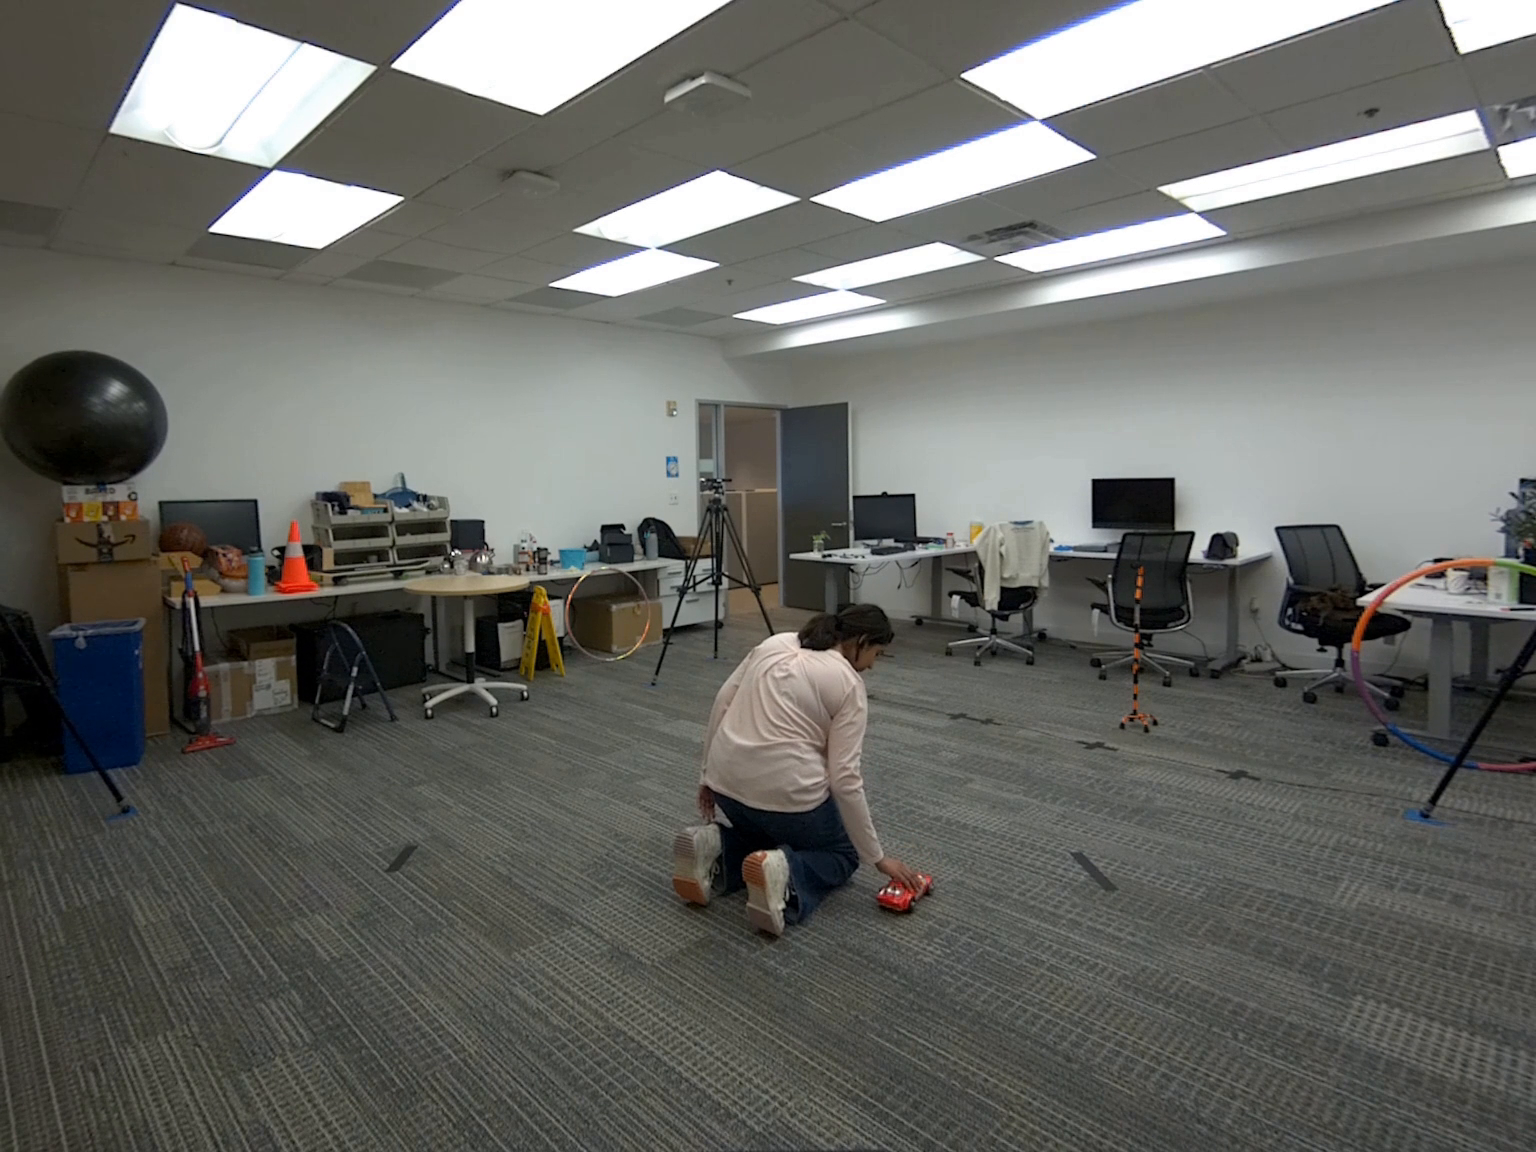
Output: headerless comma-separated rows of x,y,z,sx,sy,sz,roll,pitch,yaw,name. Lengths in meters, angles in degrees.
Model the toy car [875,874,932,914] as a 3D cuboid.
0.445,1.034,2.800,0.134,0.083,0.246,5,-3,35,toy car
